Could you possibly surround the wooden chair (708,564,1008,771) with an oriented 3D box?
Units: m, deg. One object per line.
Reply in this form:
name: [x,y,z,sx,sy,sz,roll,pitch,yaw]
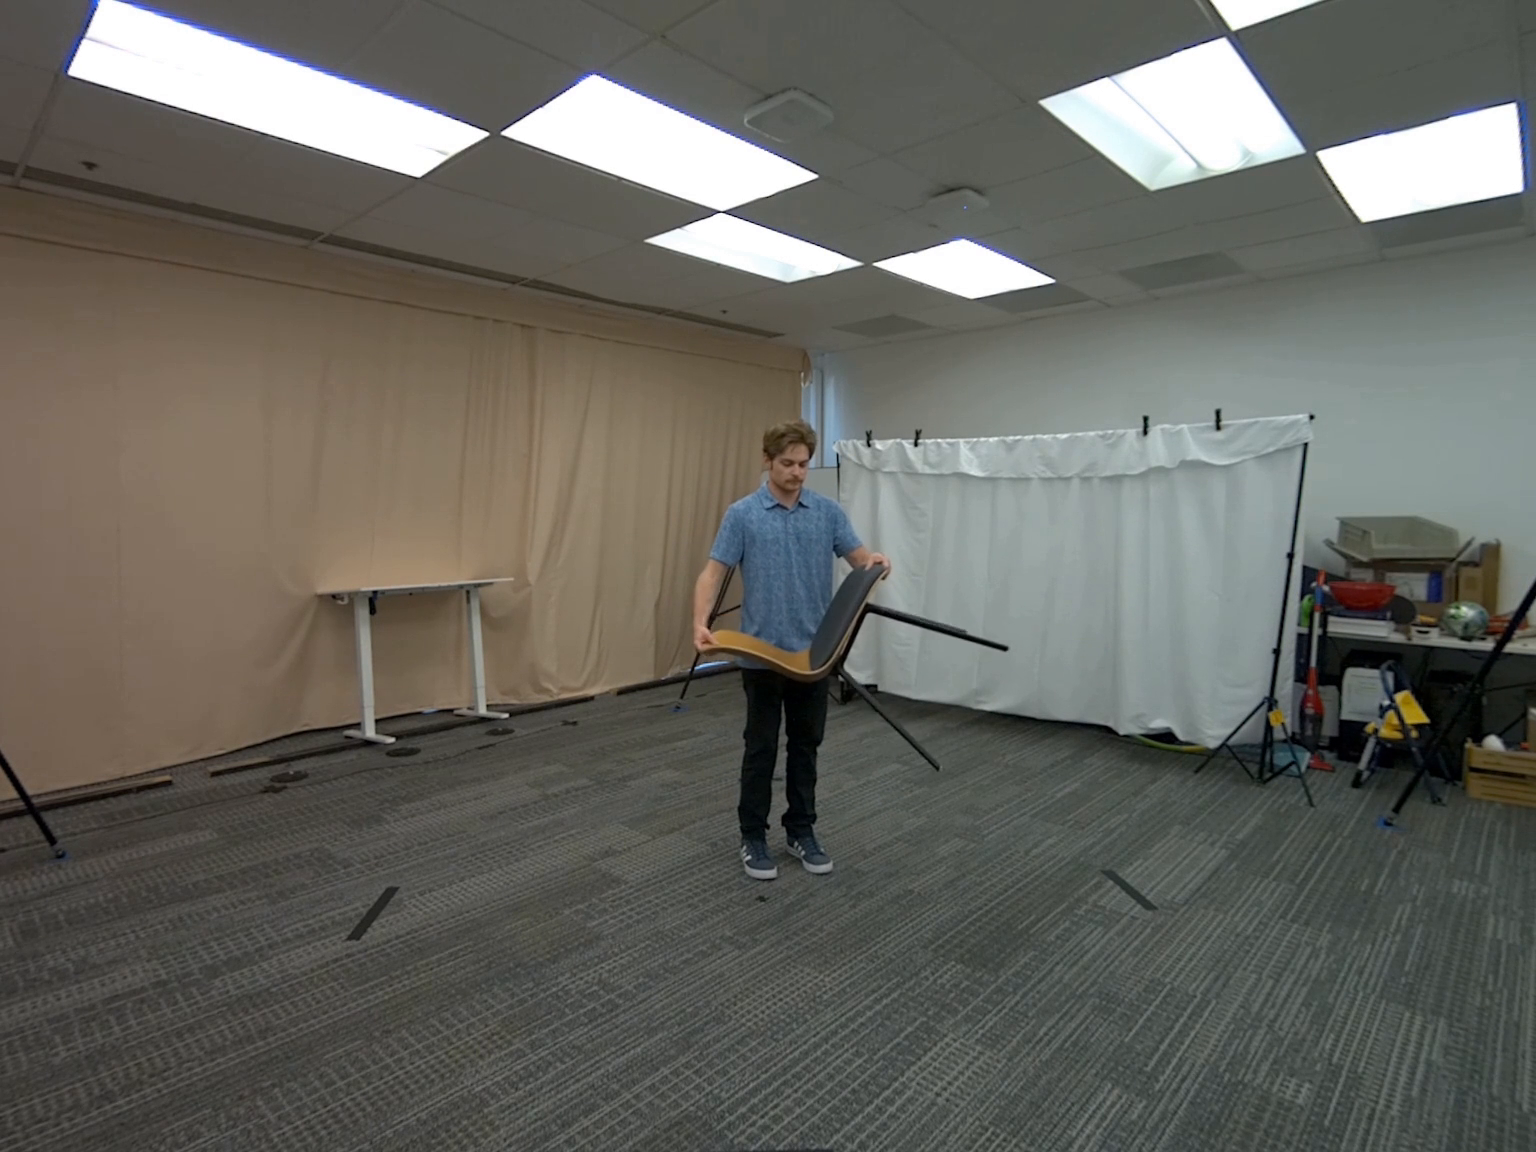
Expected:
wooden chair: [0.274,0.204,2.902,0.877,0.523,0.478,26,1,-1]
